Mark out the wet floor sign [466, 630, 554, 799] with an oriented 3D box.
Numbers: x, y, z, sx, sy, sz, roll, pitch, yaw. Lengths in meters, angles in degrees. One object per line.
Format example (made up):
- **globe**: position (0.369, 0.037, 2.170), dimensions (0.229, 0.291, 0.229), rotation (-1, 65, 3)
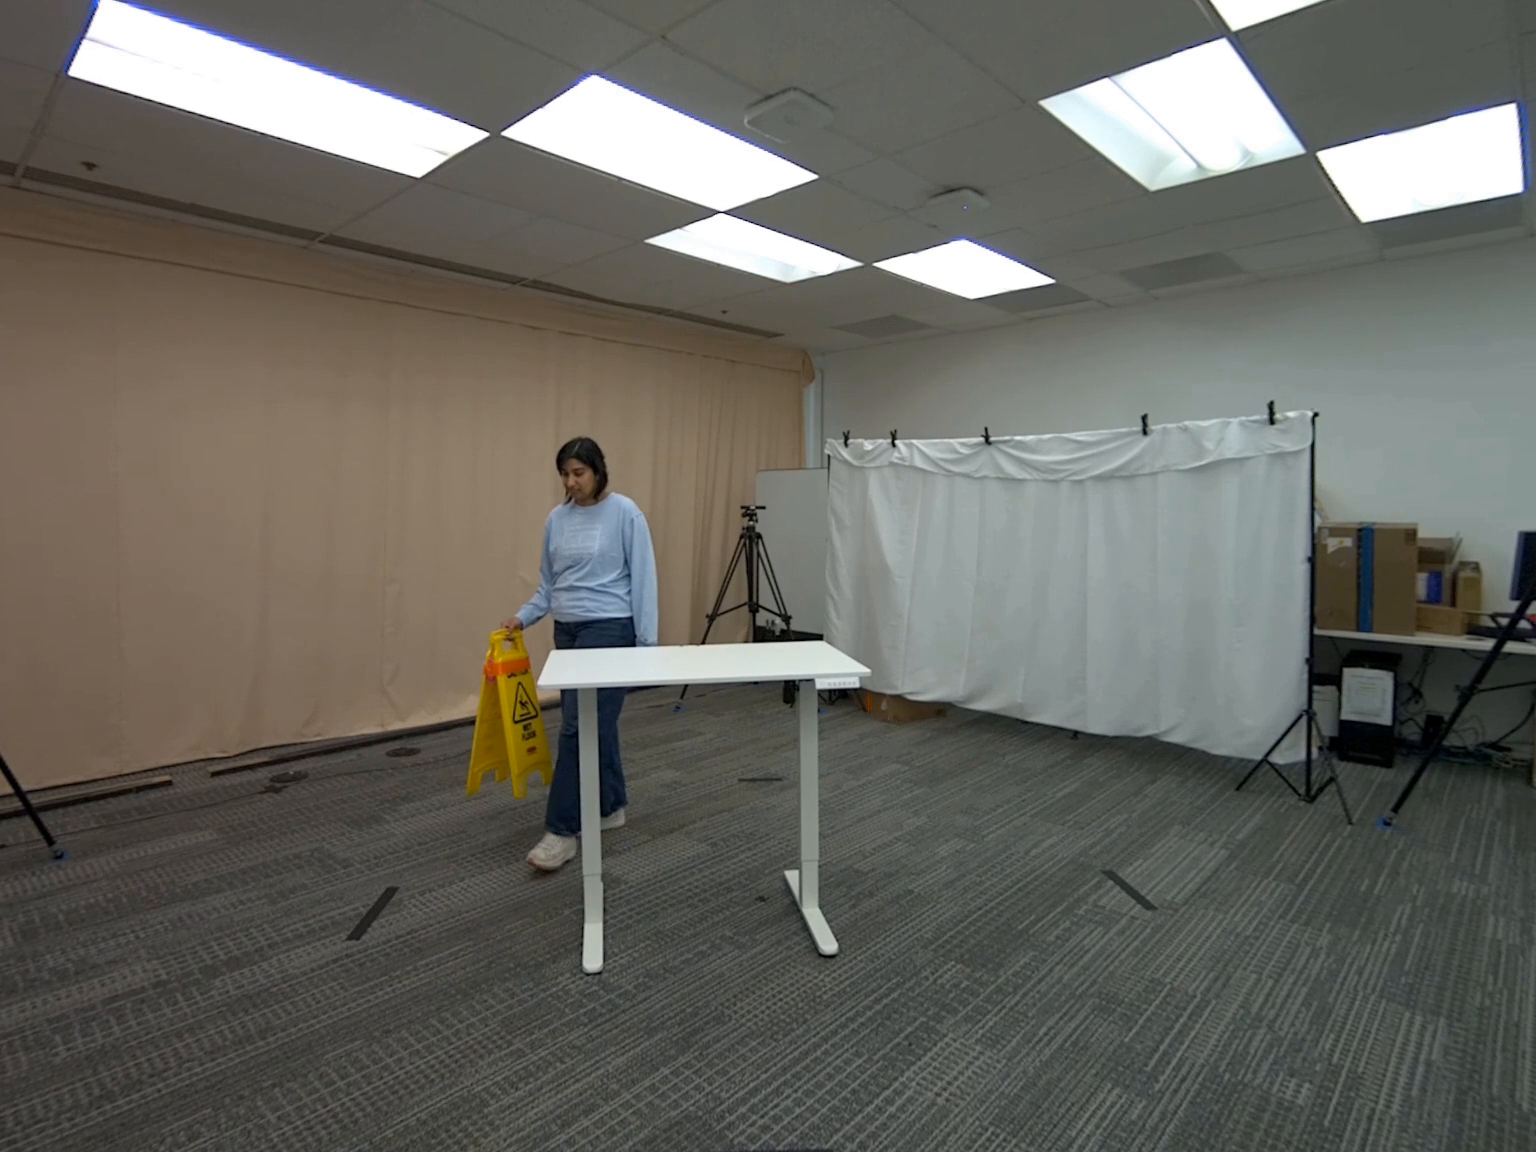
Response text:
- **wet floor sign**: position (-1.073, 0.561, 3.444), dimensions (0.295, 0.646, 0.277), rotation (-2, -1, 16)
